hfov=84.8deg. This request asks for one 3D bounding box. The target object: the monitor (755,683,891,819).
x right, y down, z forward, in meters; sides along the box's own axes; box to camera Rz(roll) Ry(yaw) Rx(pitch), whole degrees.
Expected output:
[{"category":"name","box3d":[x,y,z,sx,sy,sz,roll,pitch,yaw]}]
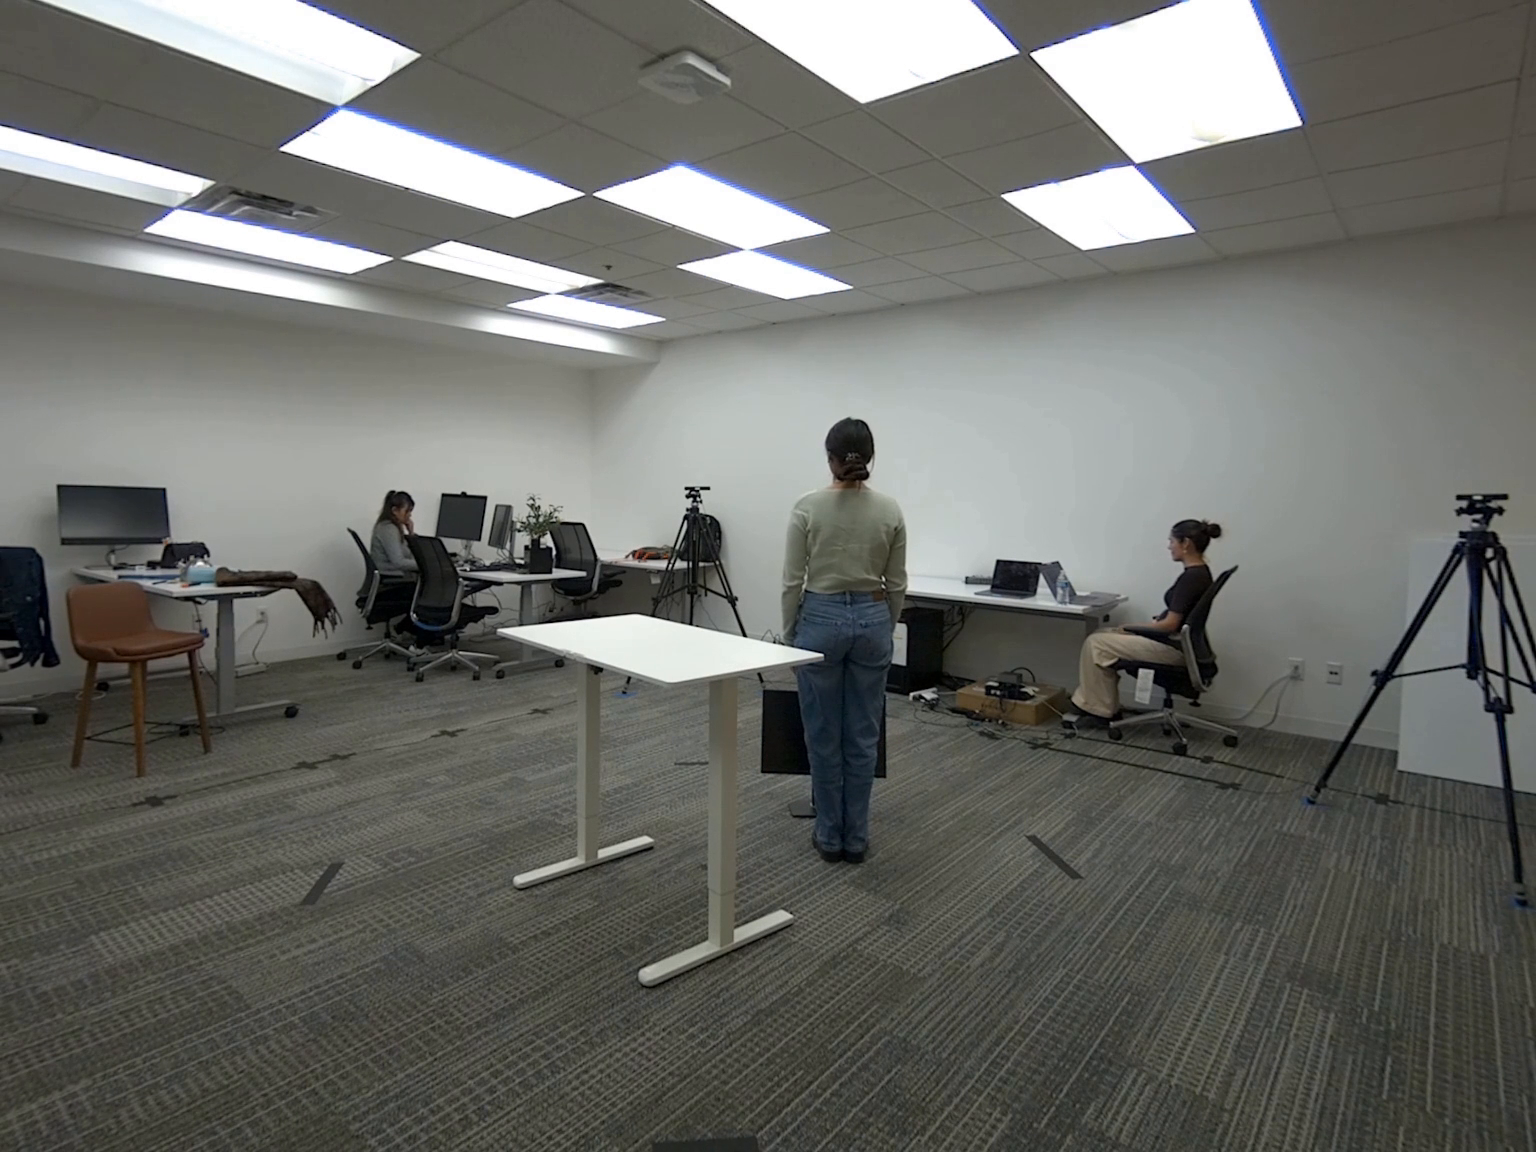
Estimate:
[{"category":"monitor","box3d":[0.233,0.757,3.679,0.537,0.522,0.188,2,2,-3]}]
